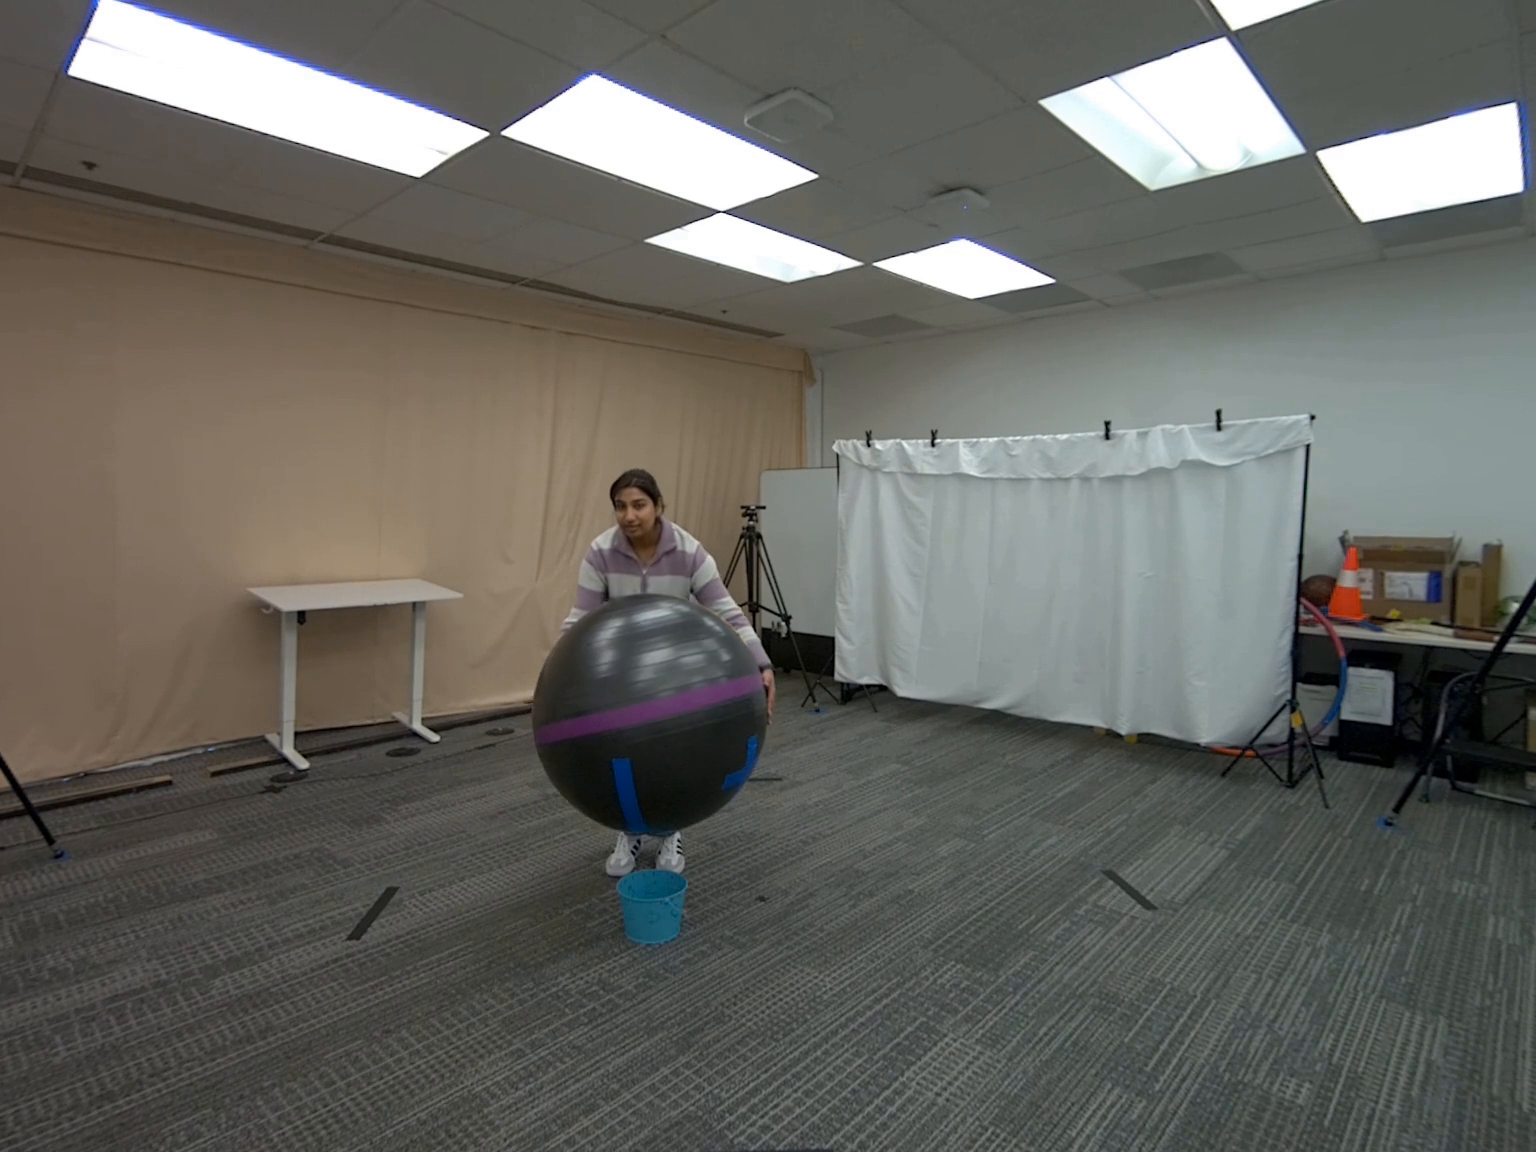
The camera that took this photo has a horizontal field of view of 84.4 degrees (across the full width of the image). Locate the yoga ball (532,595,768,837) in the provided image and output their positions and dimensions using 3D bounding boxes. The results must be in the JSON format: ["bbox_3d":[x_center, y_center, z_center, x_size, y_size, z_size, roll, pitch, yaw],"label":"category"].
[{"bbox_3d":[-0.376,0.442,2.737,0.757,0.756,0.761,0,4,-2],"label":"yoga ball"}]
